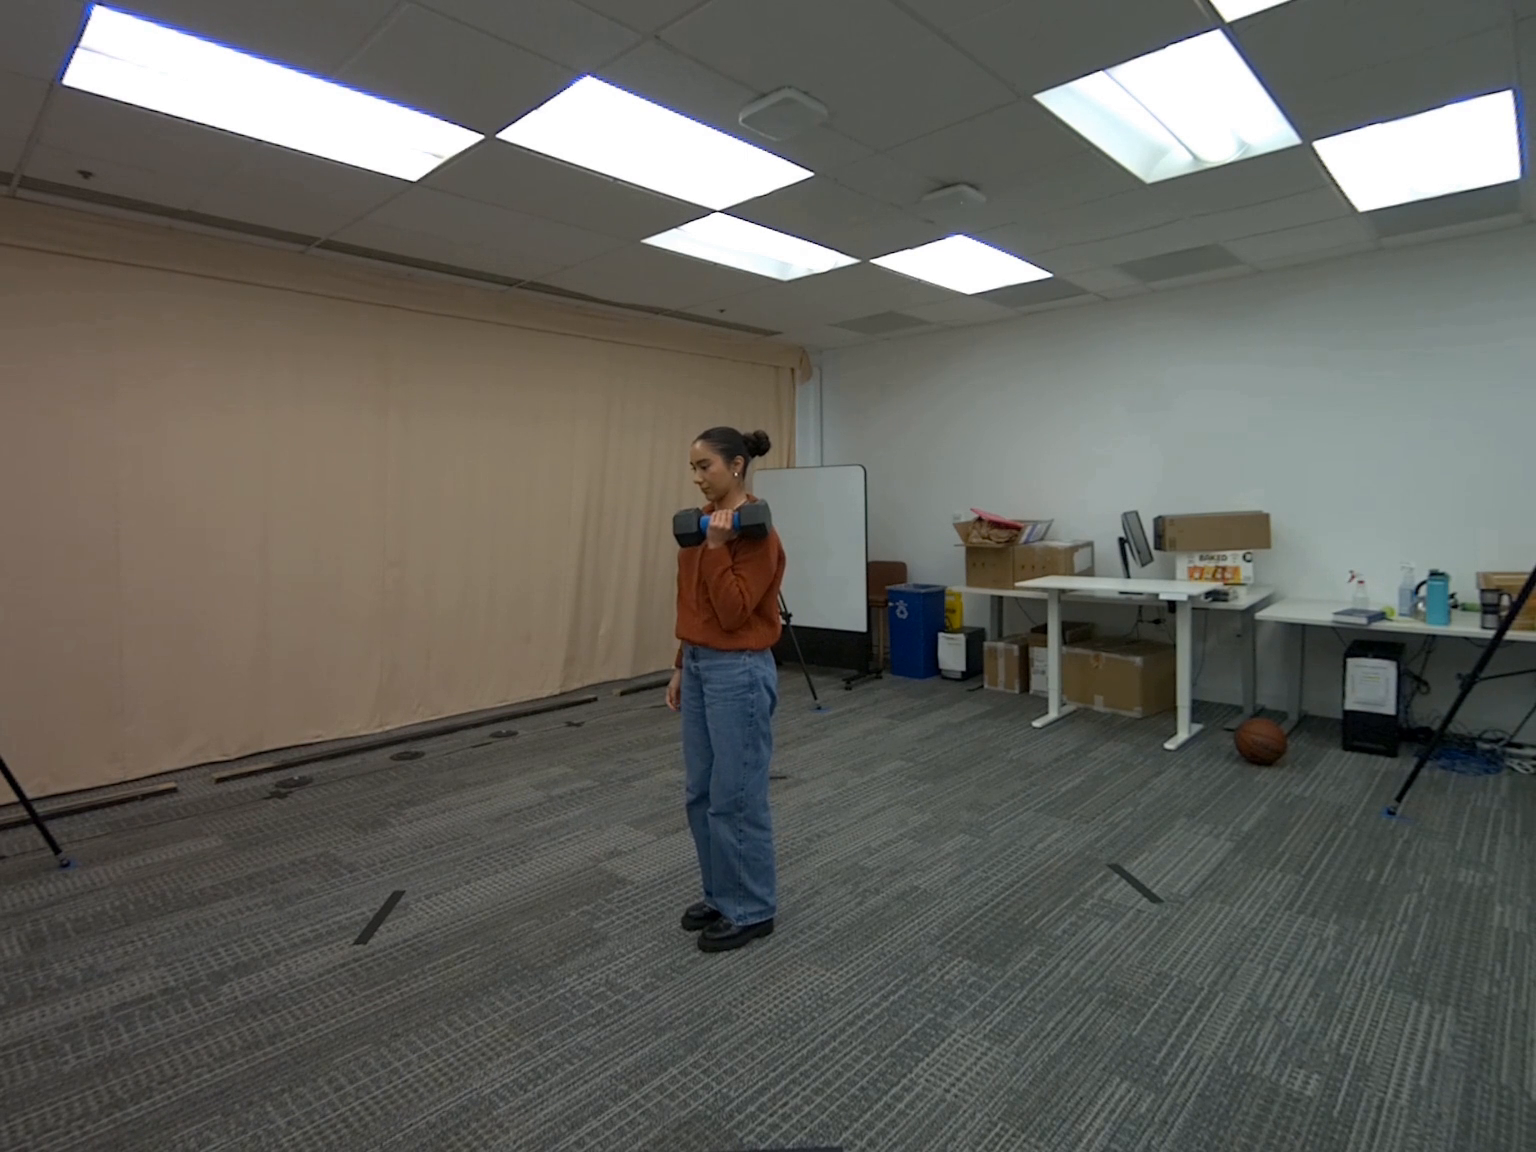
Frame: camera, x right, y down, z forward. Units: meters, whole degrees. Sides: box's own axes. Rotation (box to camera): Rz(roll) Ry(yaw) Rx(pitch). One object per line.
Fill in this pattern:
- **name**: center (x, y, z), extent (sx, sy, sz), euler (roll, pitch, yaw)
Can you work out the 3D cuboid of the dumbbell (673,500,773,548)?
- **dumbbell**: center (-0.138, -0.159, 2.574), extent (0.298, 0.124, 0.106), euler (-7, -17, 17)
